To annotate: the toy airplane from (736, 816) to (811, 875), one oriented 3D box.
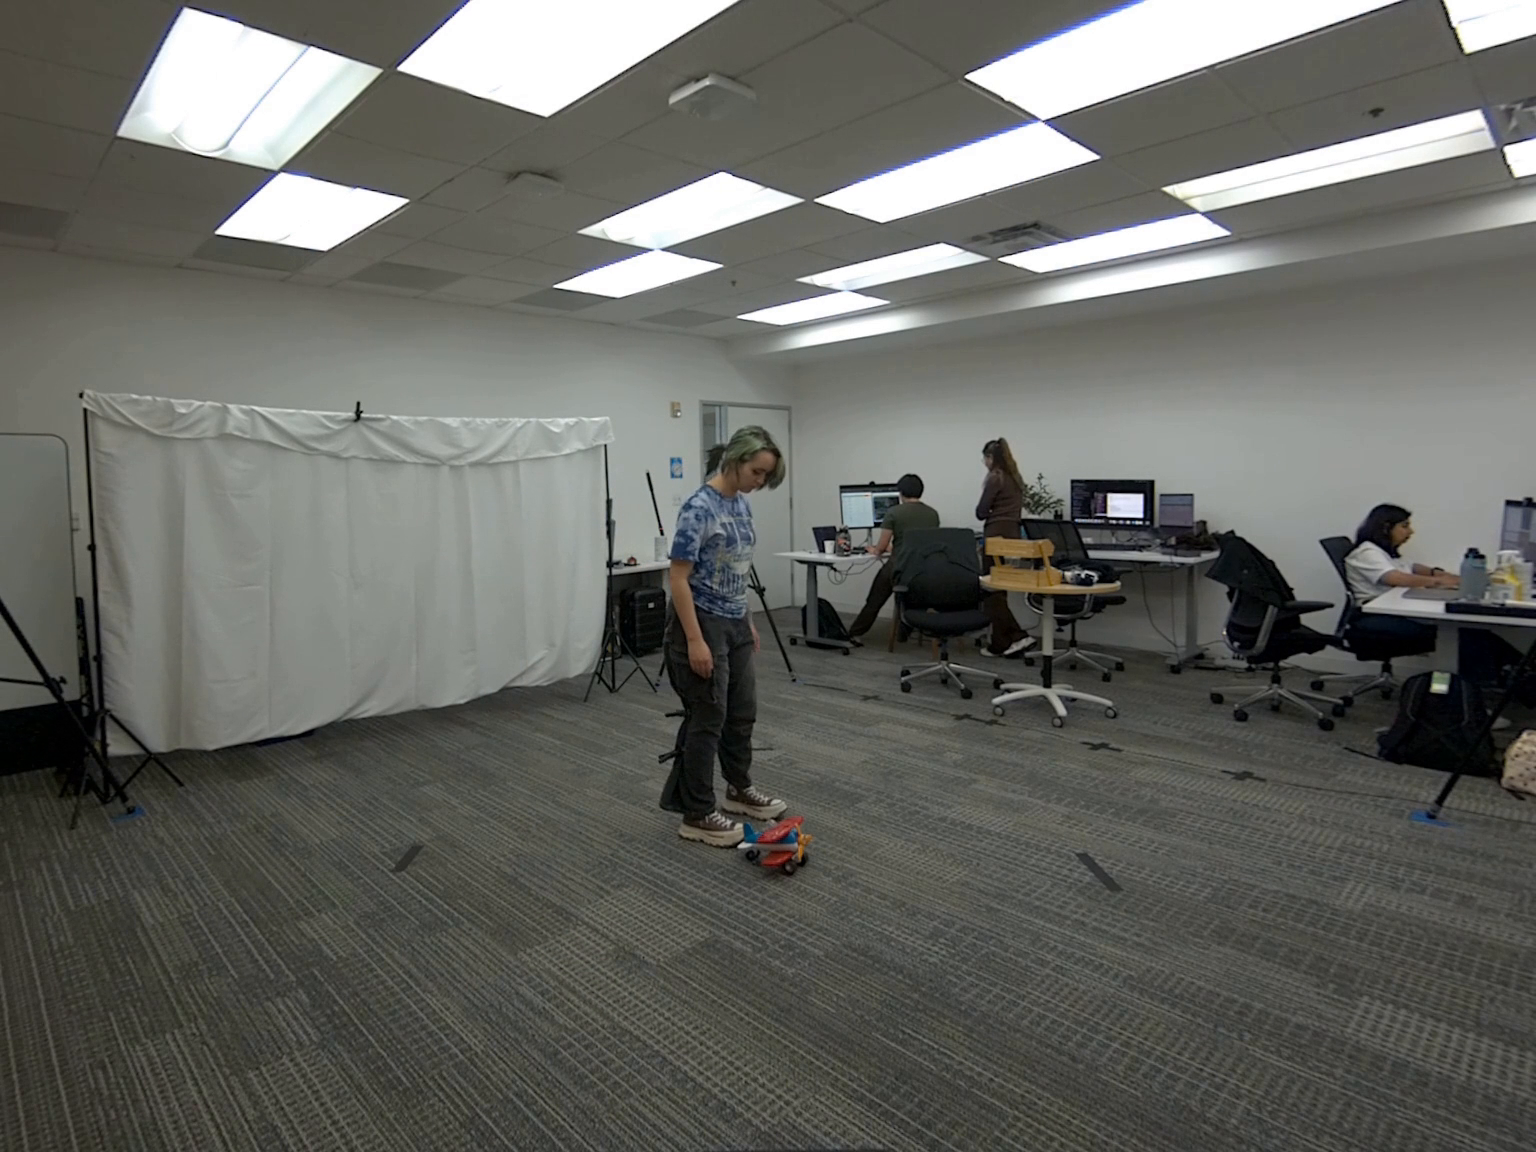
[{"bbox_3d":[0.017,0.973,3.079,0.260,0.156,0.251,1,6,4],"label":"toy airplane"}]
